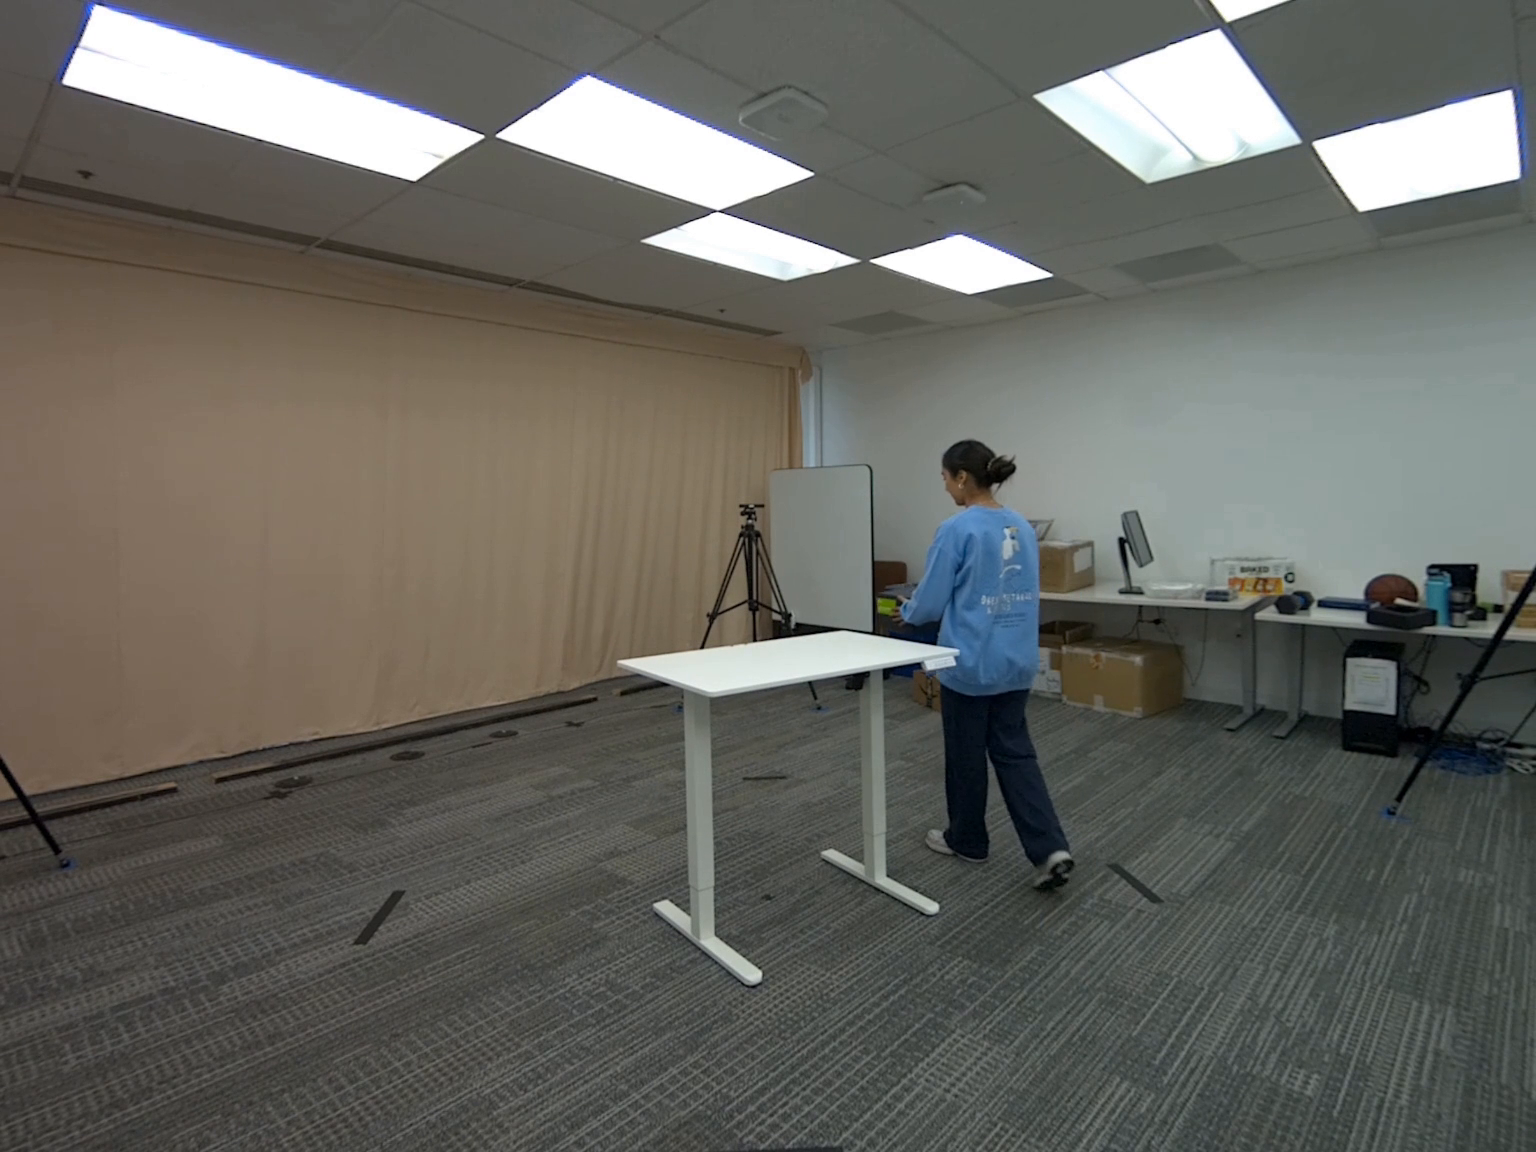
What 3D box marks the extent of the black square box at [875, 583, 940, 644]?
[{"bbox_3d":[0.618,0.140,3.568,0.212,0.155,0.234,-9,9,-28],"label":"black square box"}]
